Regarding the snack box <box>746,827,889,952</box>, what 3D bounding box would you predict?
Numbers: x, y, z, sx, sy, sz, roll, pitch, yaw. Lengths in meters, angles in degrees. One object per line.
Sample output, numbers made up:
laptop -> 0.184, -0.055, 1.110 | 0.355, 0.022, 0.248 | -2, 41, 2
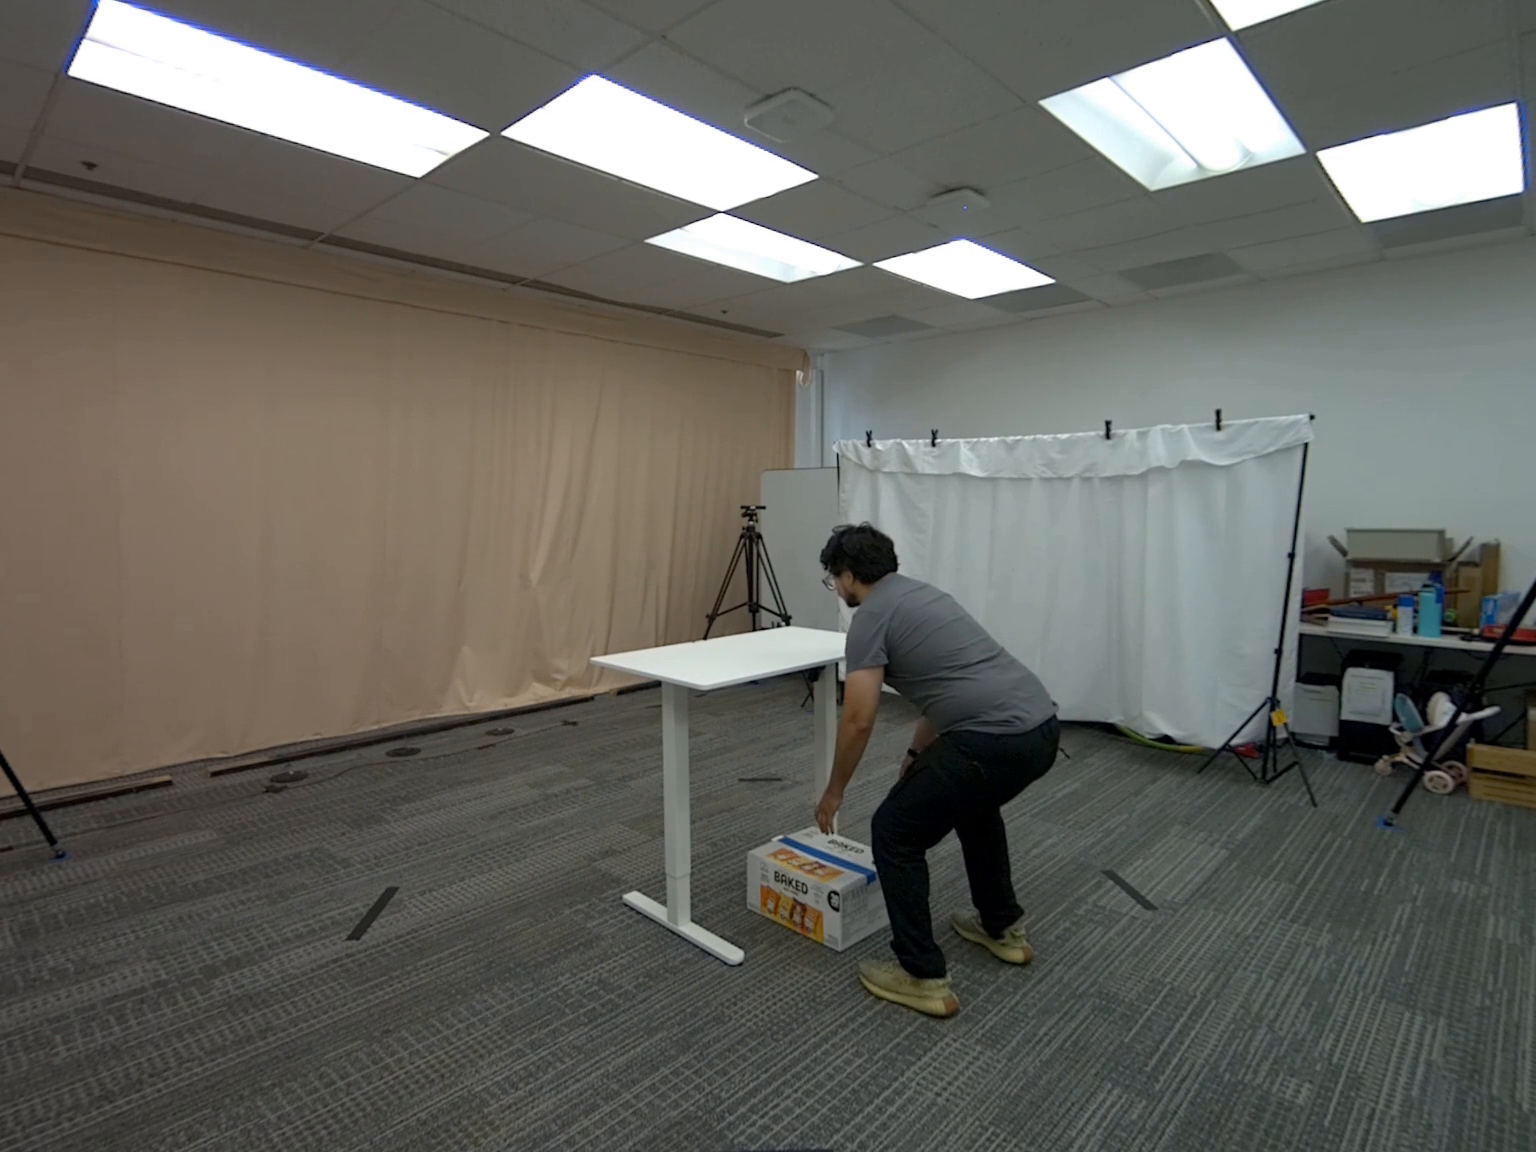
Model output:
snack box -> 0.196, 1.054, 2.869 | 0.330, 0.205, 0.419 | -4, 6, -45
